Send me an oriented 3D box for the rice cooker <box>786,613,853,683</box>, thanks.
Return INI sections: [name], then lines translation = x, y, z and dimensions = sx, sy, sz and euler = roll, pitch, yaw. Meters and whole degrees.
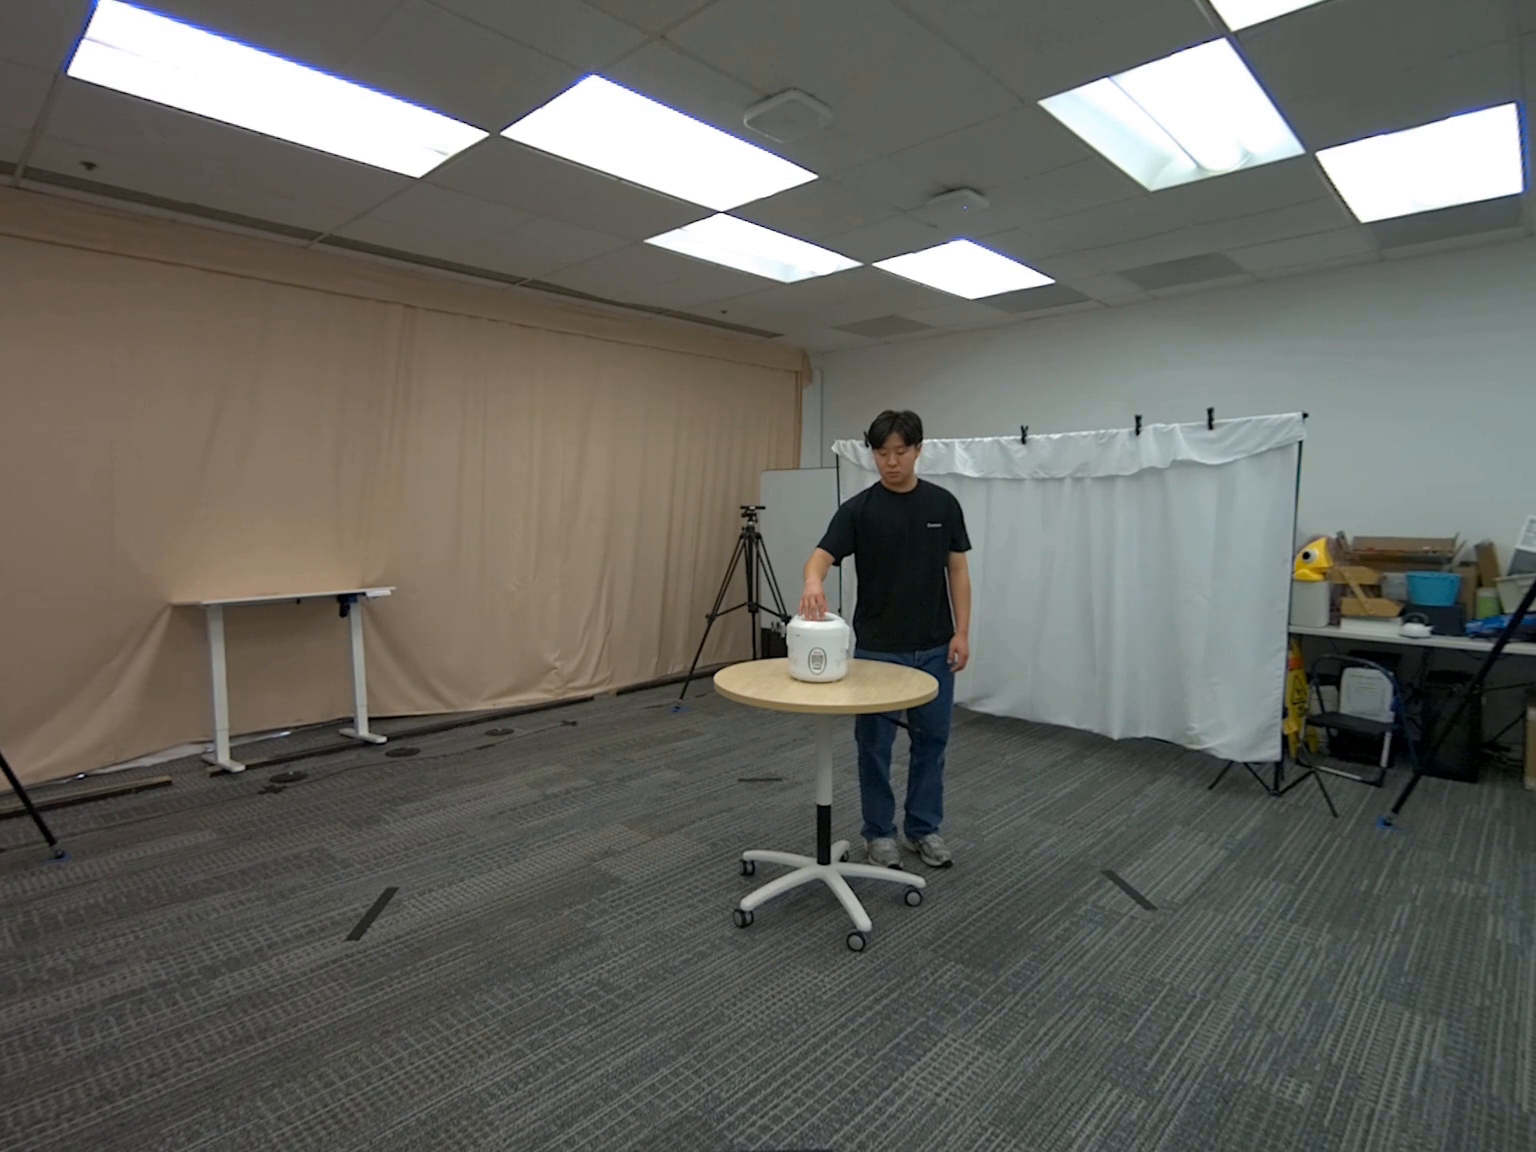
[rice cooker]
translation = 0.177, 0.238, 2.911
dimensions = 0.222, 0.232, 0.216
euler = 1, 3, 4
